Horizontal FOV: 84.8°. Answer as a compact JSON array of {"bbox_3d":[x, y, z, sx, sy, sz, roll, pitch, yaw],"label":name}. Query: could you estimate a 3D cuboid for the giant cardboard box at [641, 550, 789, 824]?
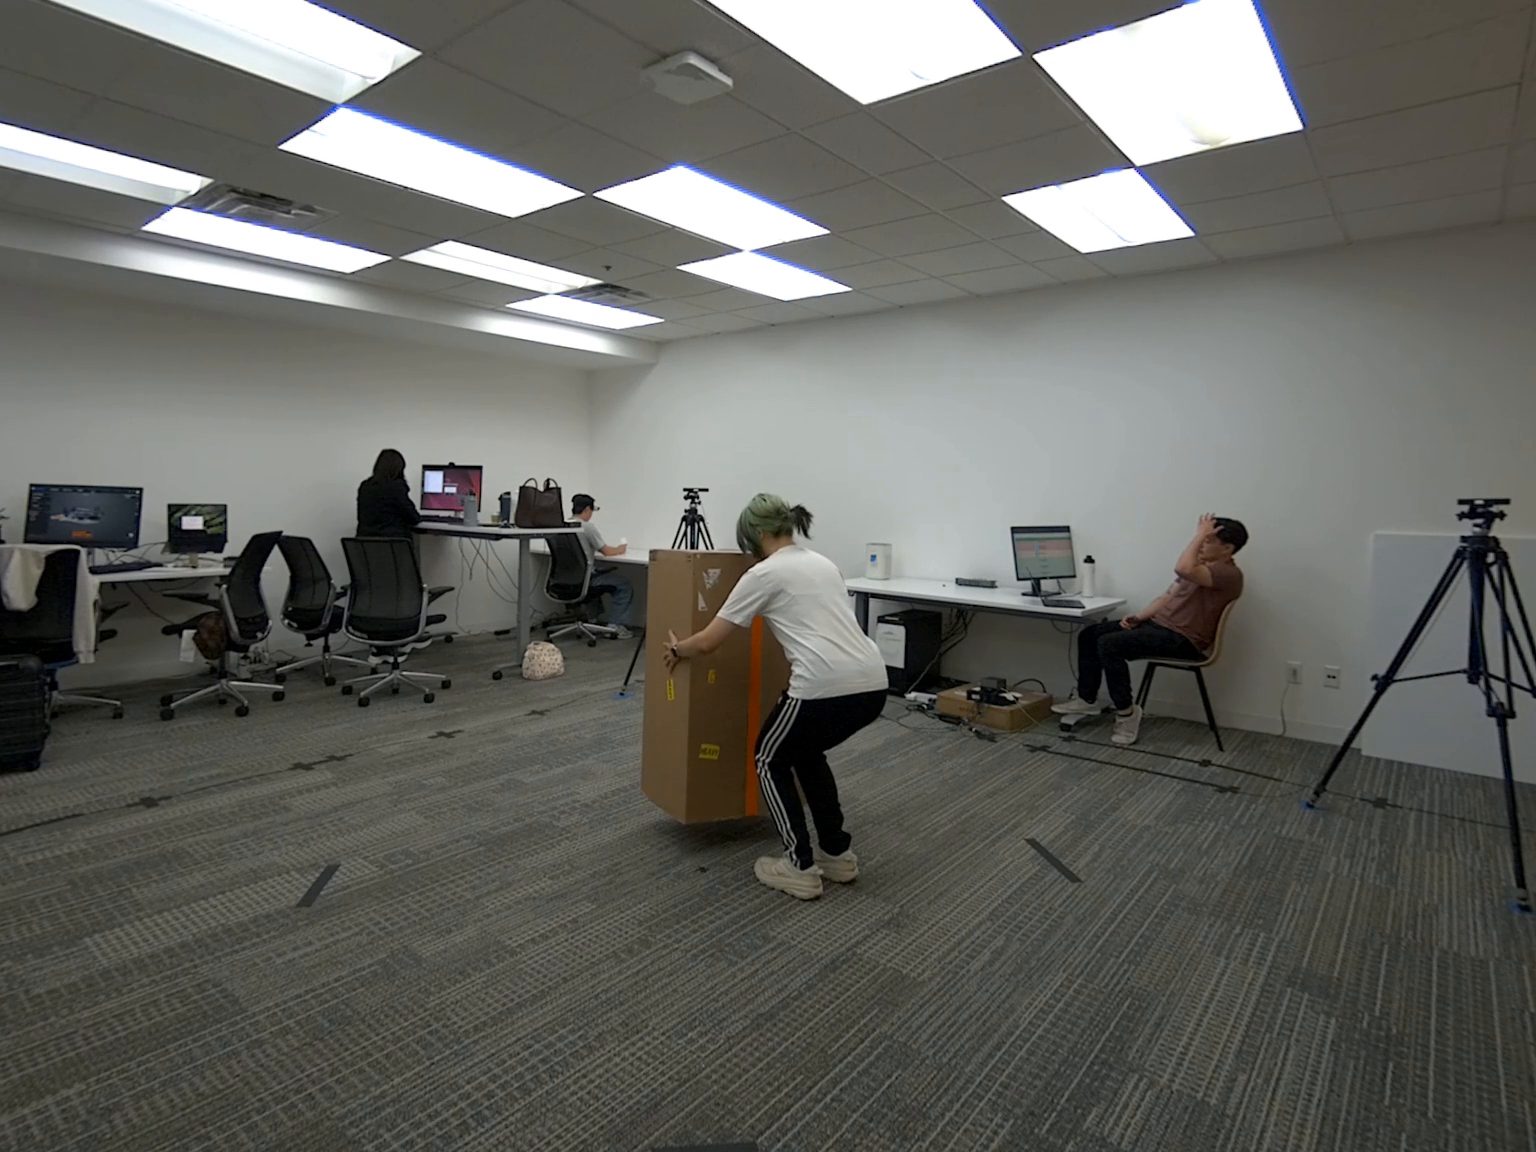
[{"bbox_3d":[-0.172,0.406,3.494,0.562,1.026,0.438,1,0,-30],"label":"giant cardboard box"}]
